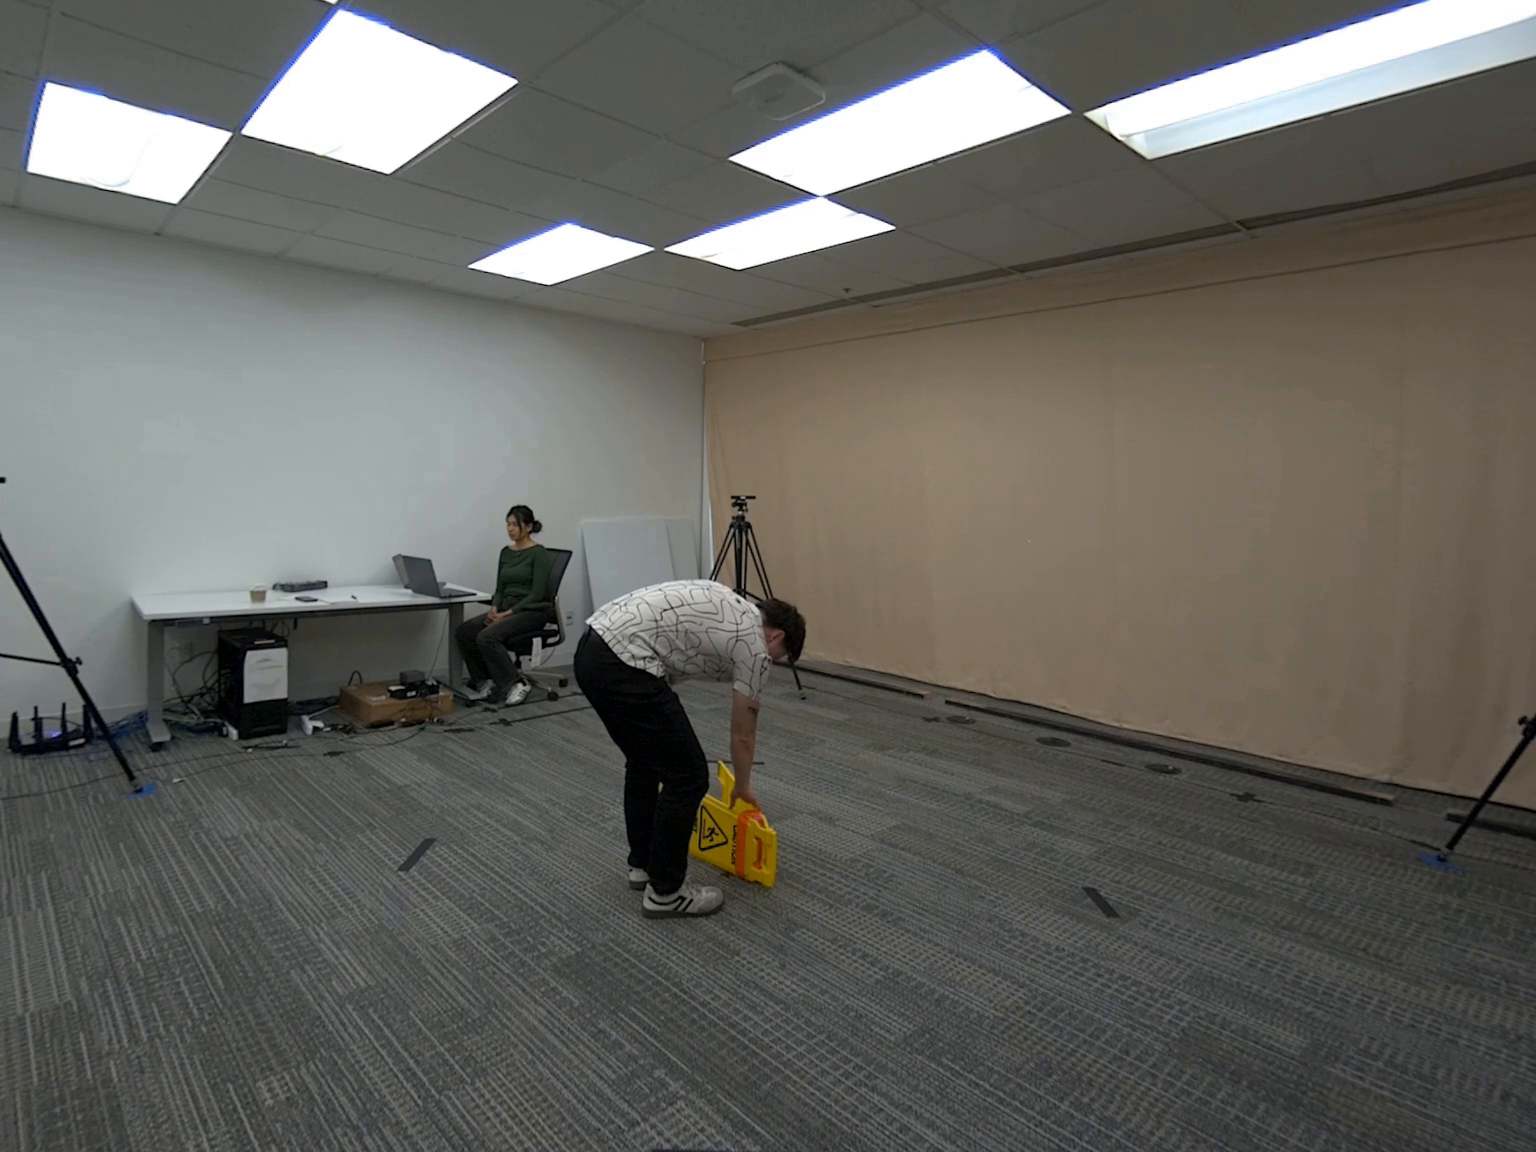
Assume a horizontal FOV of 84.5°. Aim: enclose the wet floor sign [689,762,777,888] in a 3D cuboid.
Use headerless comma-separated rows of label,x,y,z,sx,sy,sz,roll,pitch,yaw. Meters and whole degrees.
wet floor sign,-0.162,0.961,3.230,0.284,0.281,0.662,-2,7,-33
